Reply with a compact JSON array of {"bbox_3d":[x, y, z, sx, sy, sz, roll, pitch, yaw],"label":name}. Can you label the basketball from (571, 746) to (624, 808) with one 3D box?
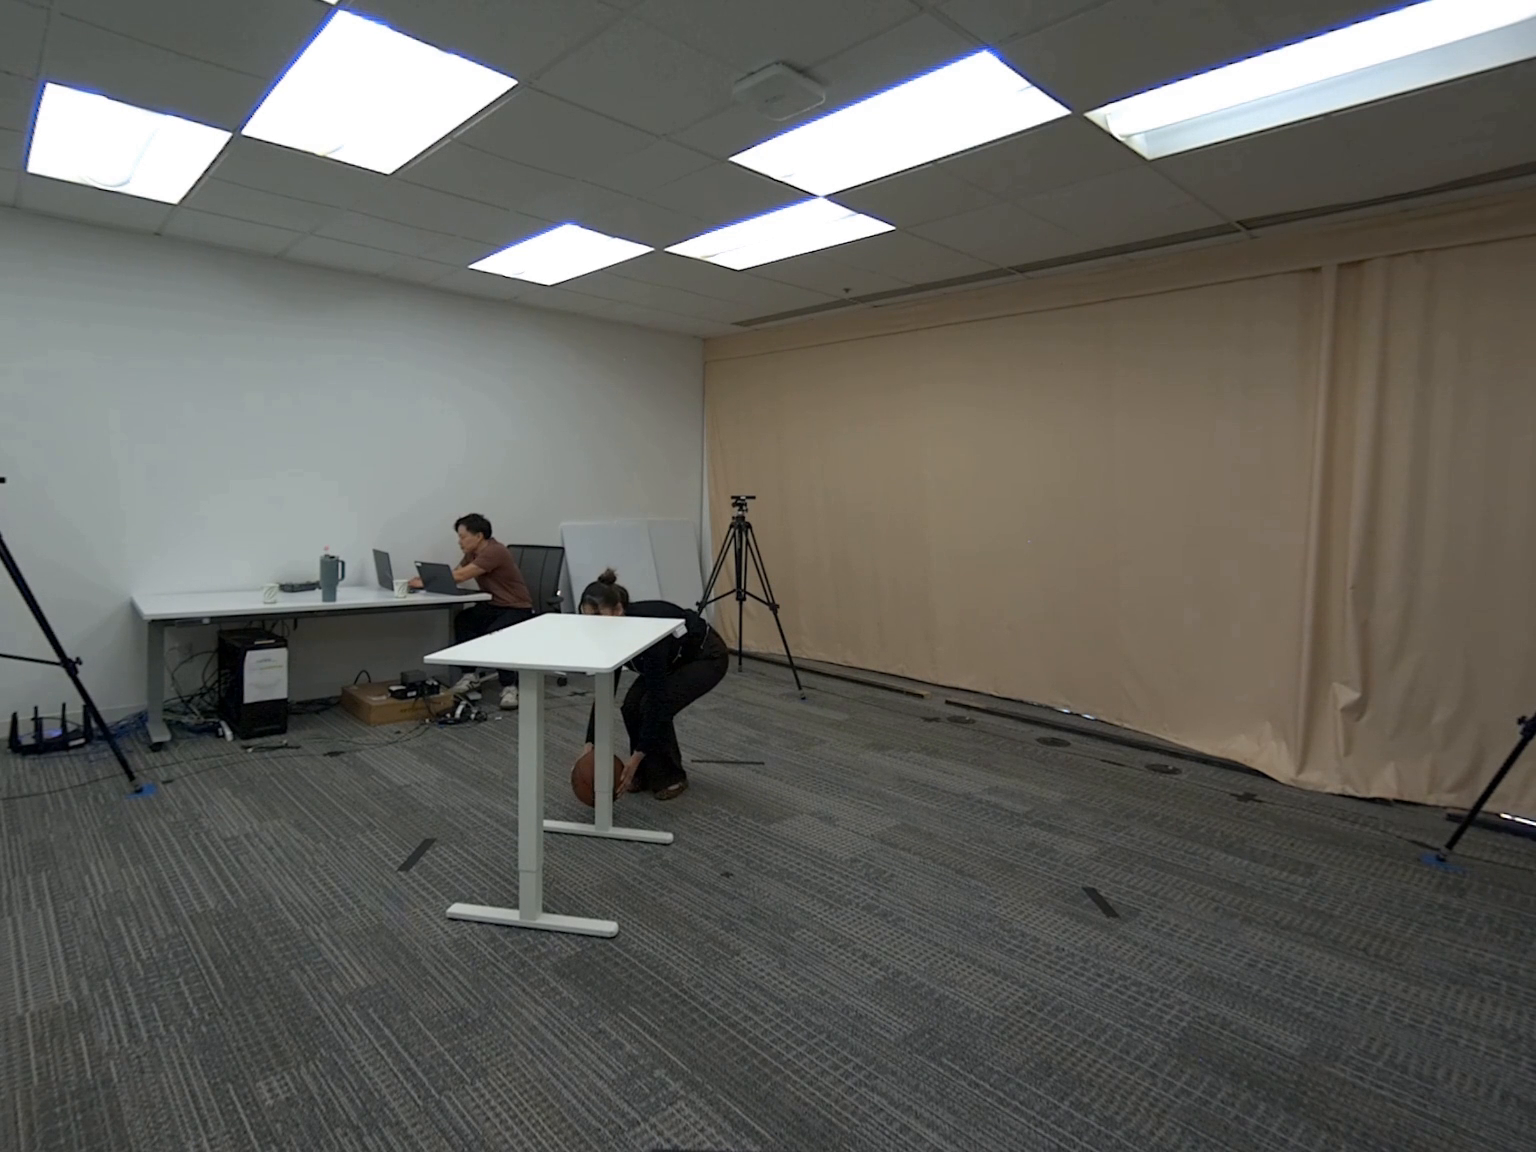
[{"bbox_3d":[-0.745,0.861,3.624,0.236,0.235,0.237,1,4,-1],"label":"basketball"}]
